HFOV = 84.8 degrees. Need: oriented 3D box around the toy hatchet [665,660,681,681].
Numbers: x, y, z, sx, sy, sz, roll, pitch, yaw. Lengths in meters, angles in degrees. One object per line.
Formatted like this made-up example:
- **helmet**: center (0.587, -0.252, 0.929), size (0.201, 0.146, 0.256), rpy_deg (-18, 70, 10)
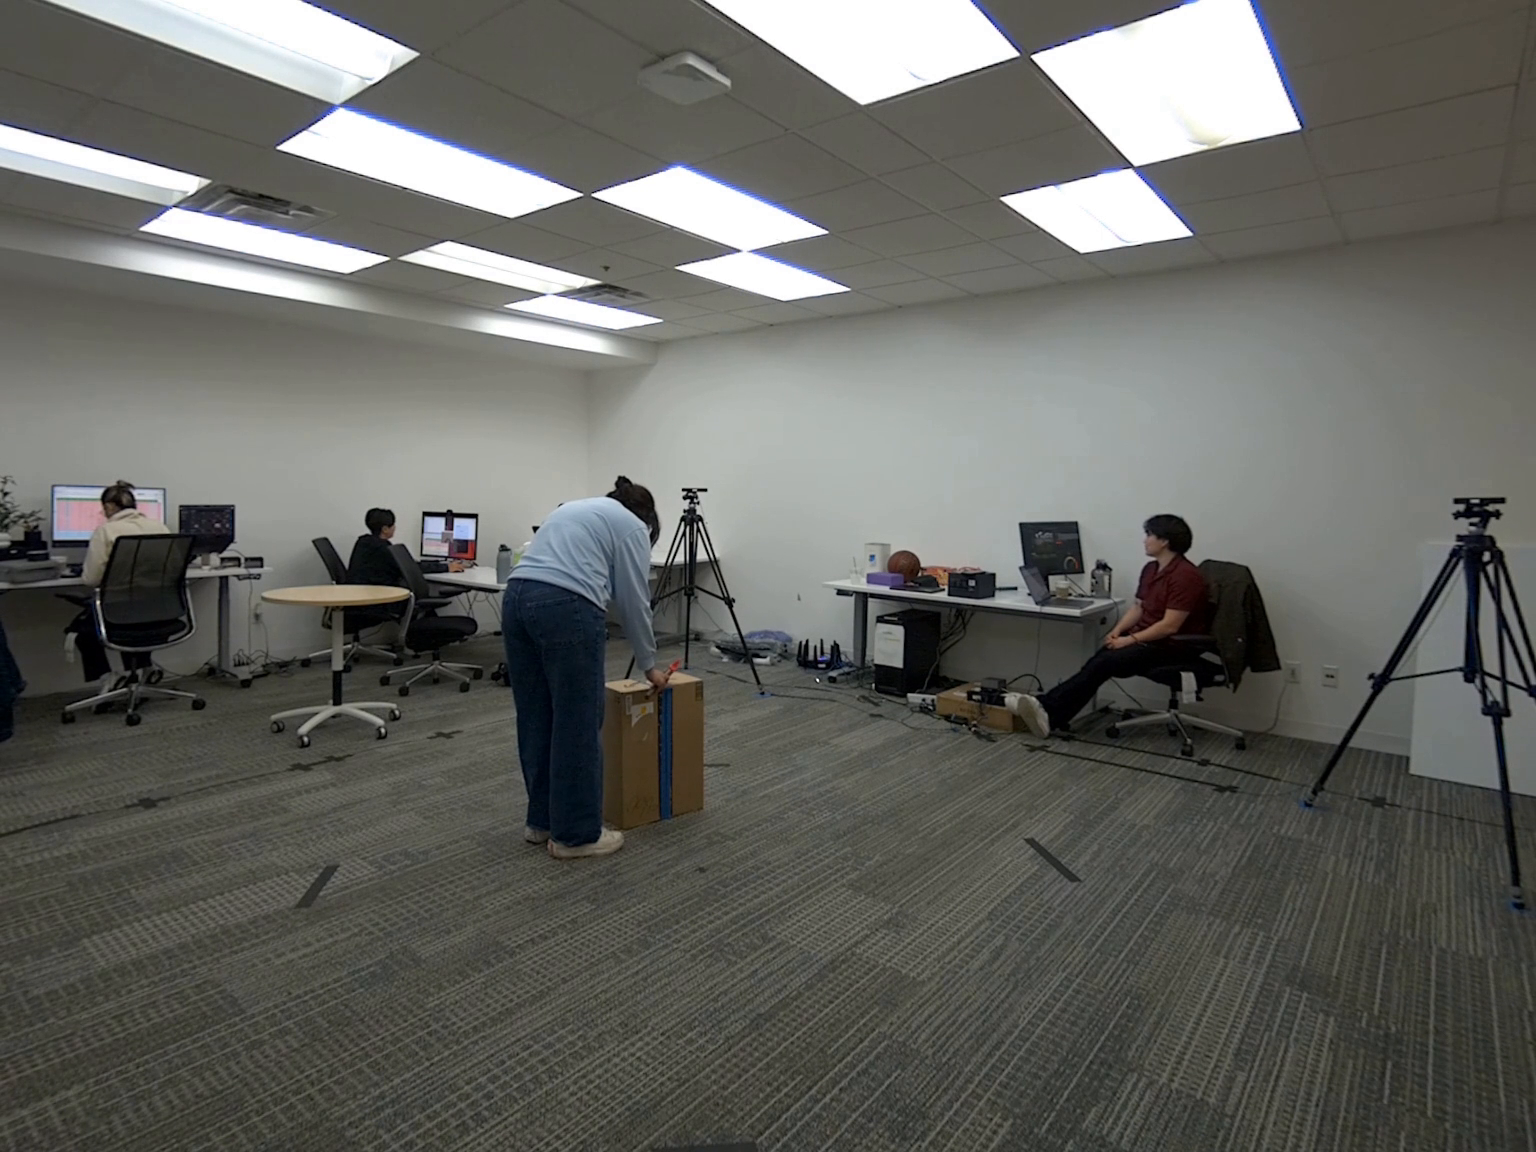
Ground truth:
- **toy hatchet**: center (-0.471, 0.452, 3.527), size (0.131, 0.029, 0.270), rpy_deg (-46, 3, 35)
